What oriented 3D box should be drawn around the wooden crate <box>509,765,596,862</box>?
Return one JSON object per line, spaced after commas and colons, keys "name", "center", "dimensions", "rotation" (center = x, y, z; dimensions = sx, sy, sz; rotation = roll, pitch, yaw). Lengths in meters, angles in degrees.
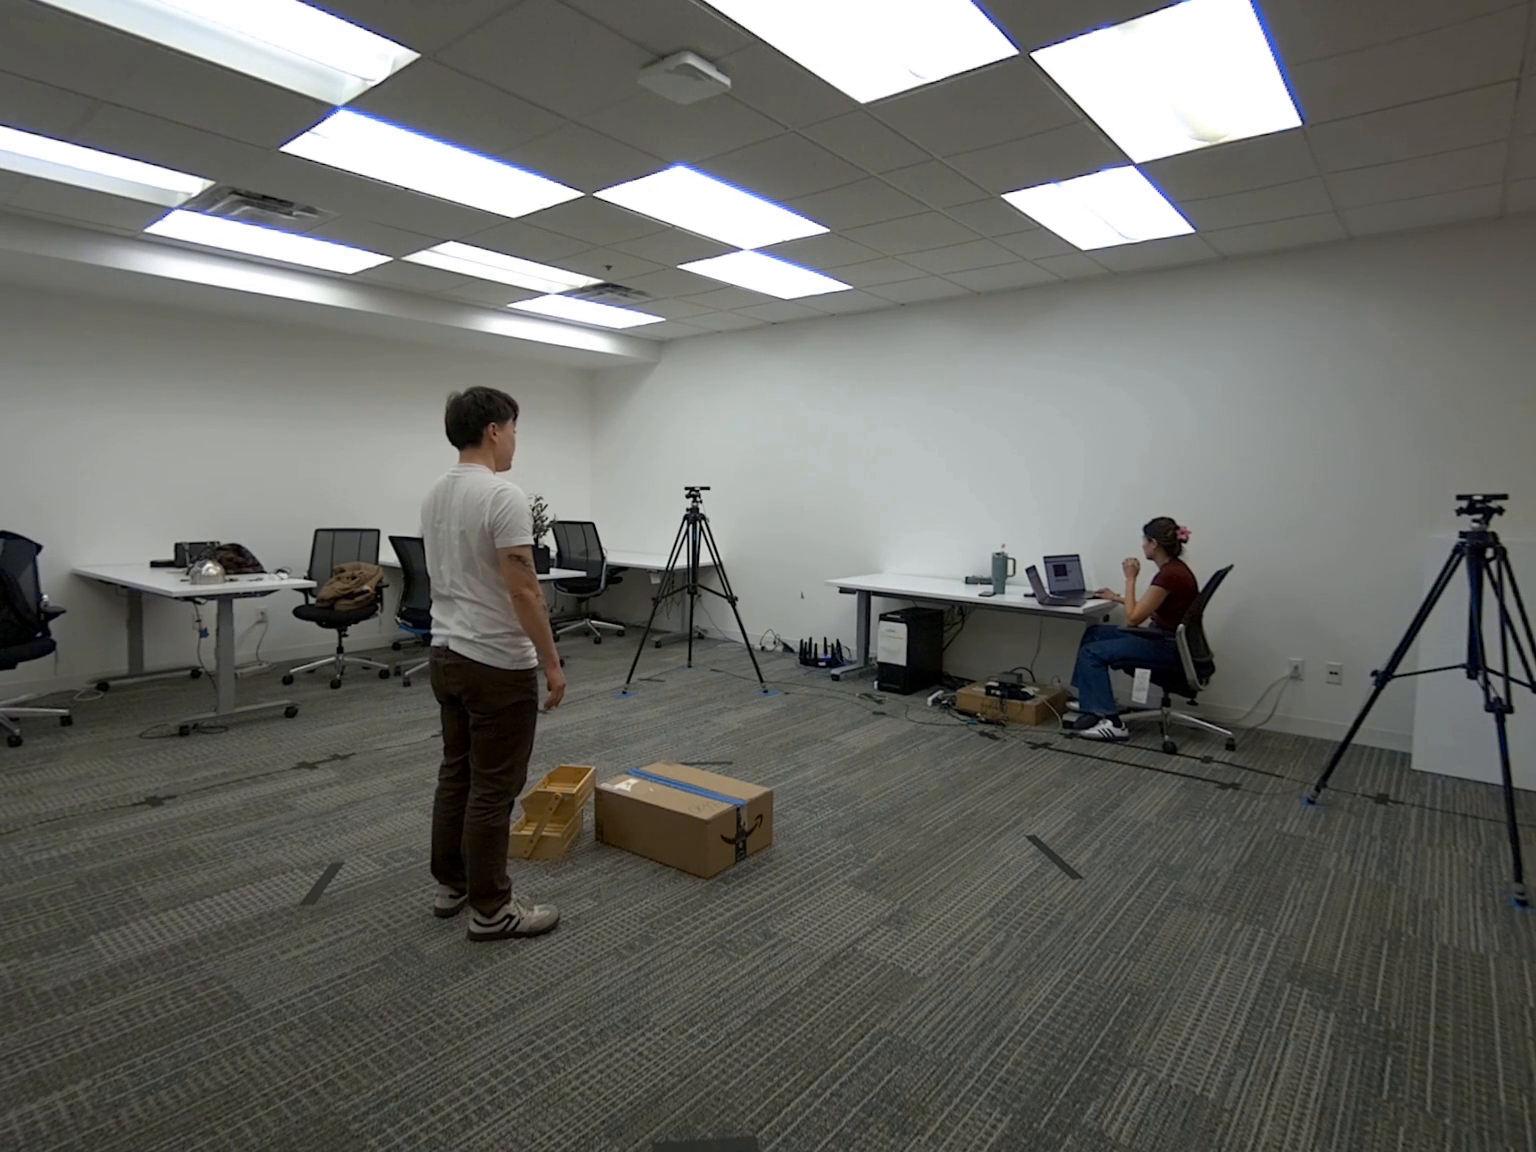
{"name": "wooden crate", "center": [-0.878, 0.905, 3.306], "dimensions": [0.304, 0.272, 0.324], "rotation": [2, 5, 5]}
